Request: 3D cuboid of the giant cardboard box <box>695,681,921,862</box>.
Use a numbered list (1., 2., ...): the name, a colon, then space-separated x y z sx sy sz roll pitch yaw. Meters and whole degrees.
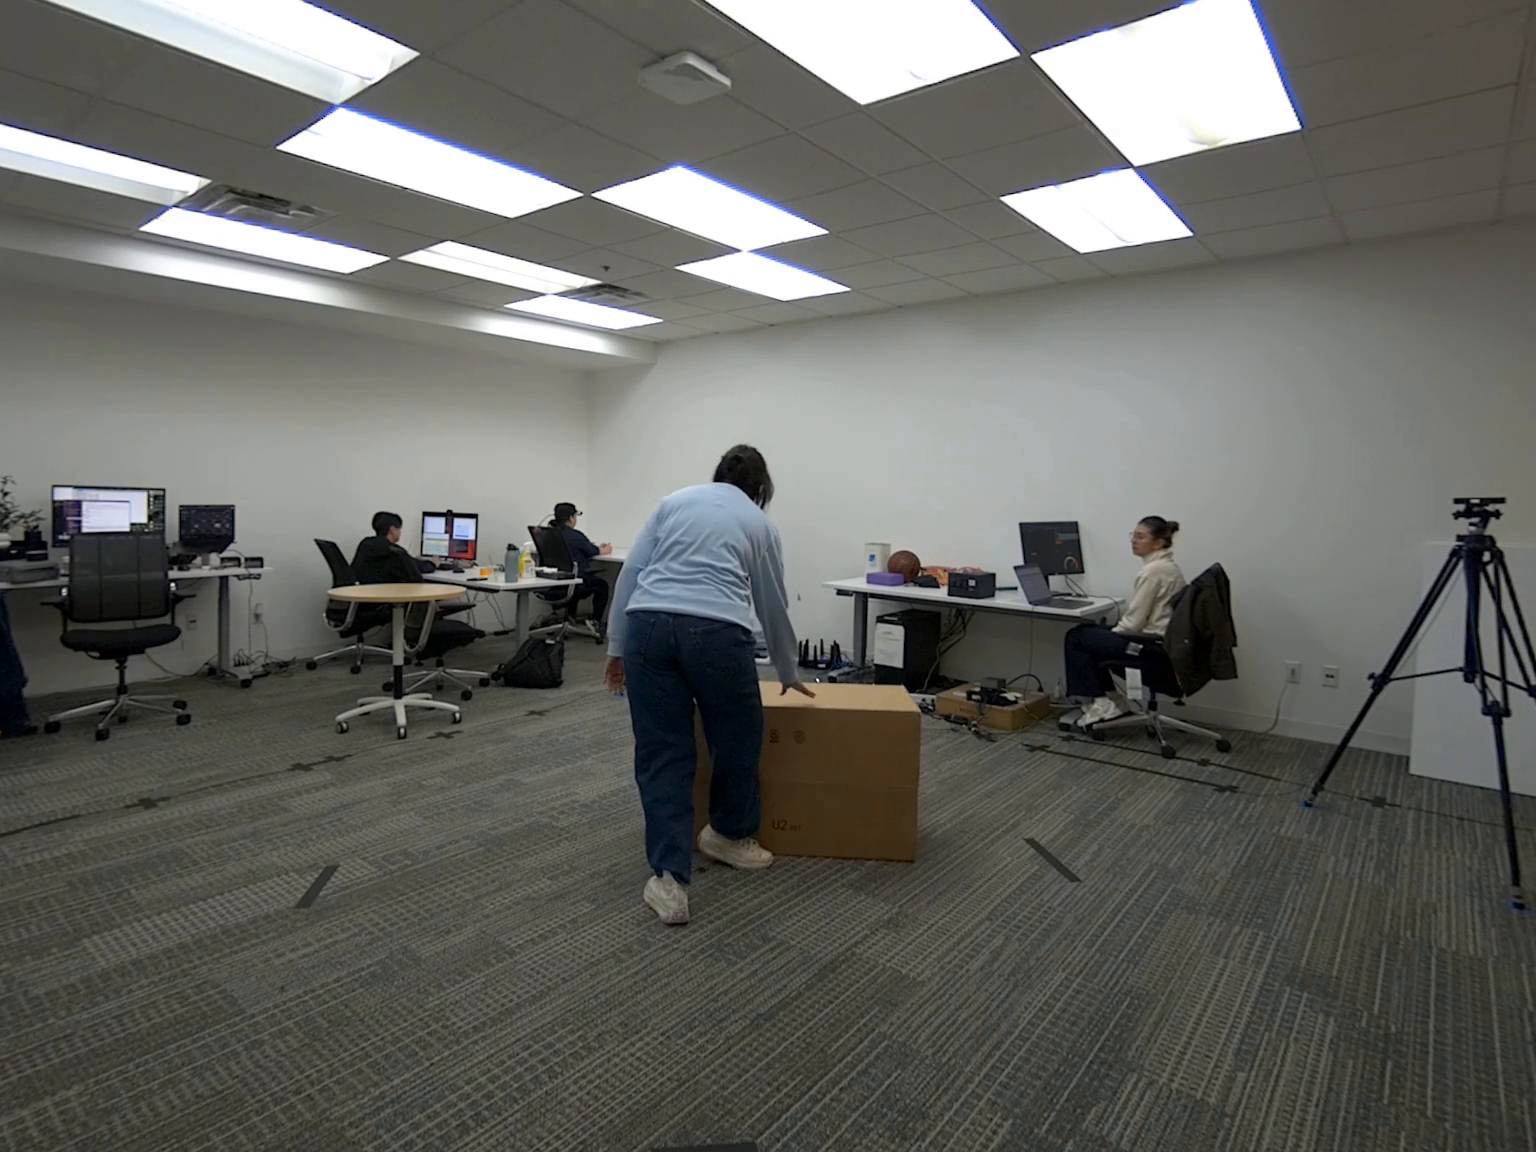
1. giant cardboard box: 0.058 0.751 3.438 1.030 0.576 0.425 1 3 4
